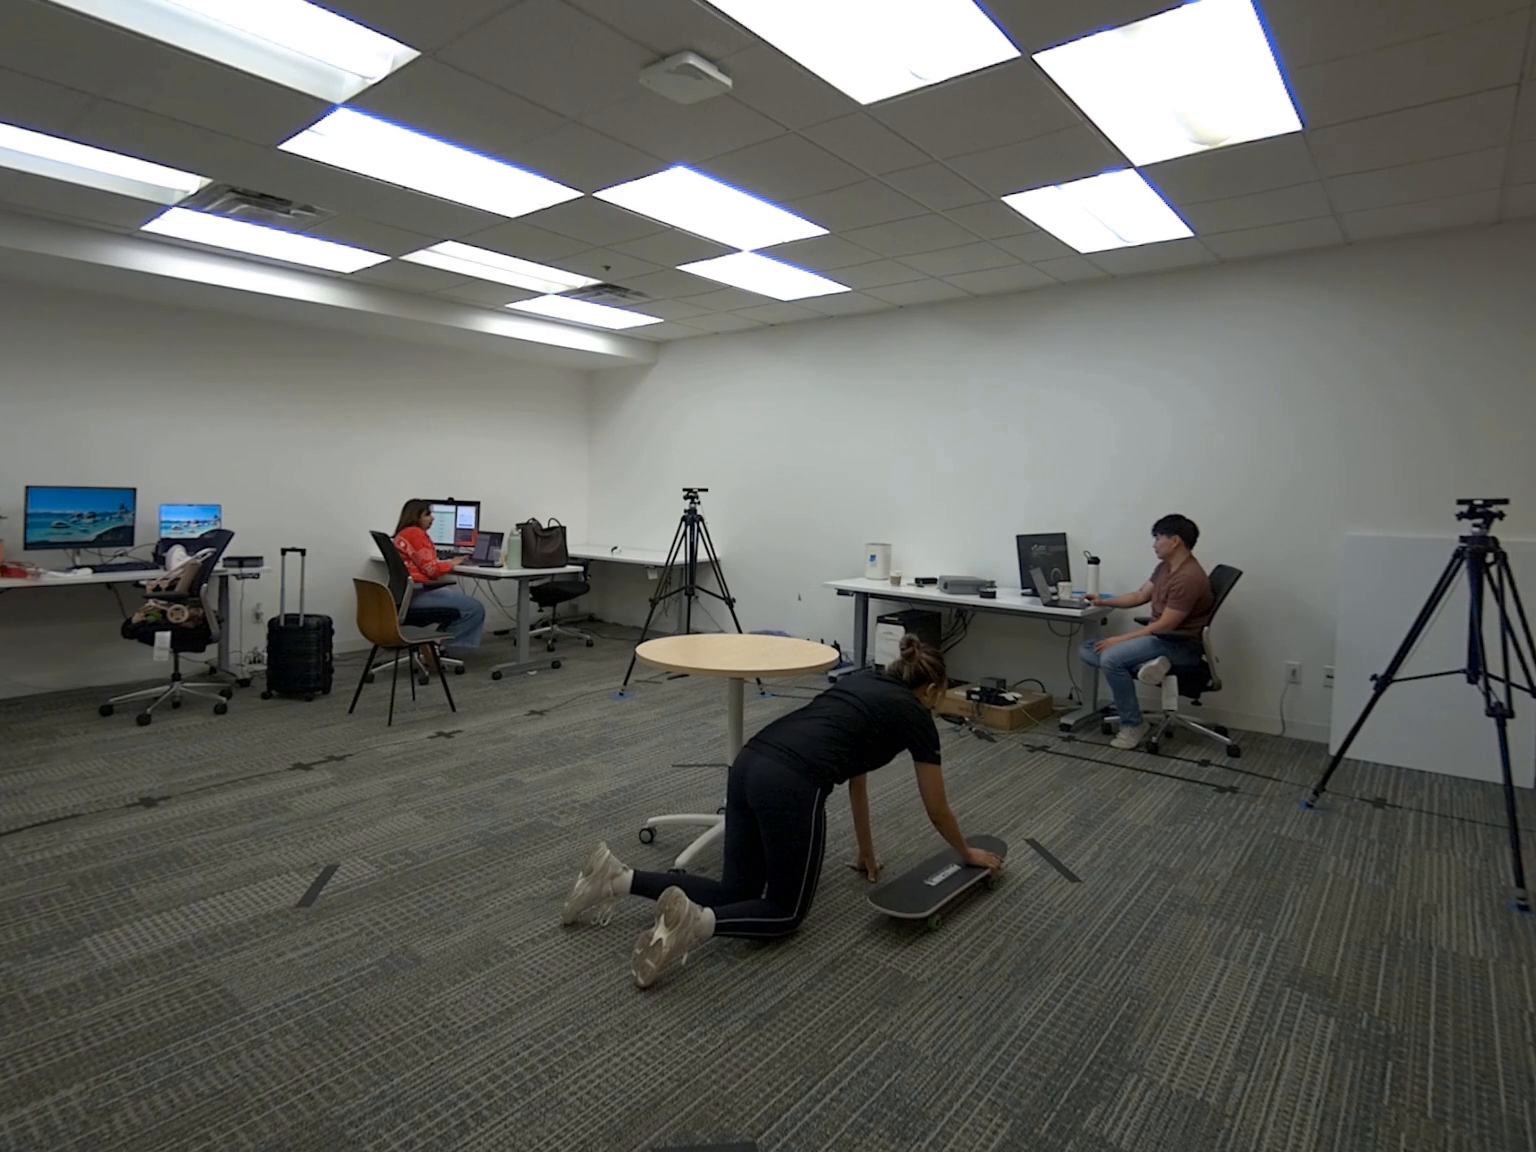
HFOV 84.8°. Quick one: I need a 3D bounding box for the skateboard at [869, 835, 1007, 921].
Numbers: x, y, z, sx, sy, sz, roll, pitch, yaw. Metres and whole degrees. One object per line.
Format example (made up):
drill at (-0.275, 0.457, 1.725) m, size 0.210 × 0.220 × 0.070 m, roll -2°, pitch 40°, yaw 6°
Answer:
skateboard at (0.586, 1.052, 2.910) m, size 0.200 × 0.110 × 0.762 m, roll 6°, pitch 8°, yaw 41°
